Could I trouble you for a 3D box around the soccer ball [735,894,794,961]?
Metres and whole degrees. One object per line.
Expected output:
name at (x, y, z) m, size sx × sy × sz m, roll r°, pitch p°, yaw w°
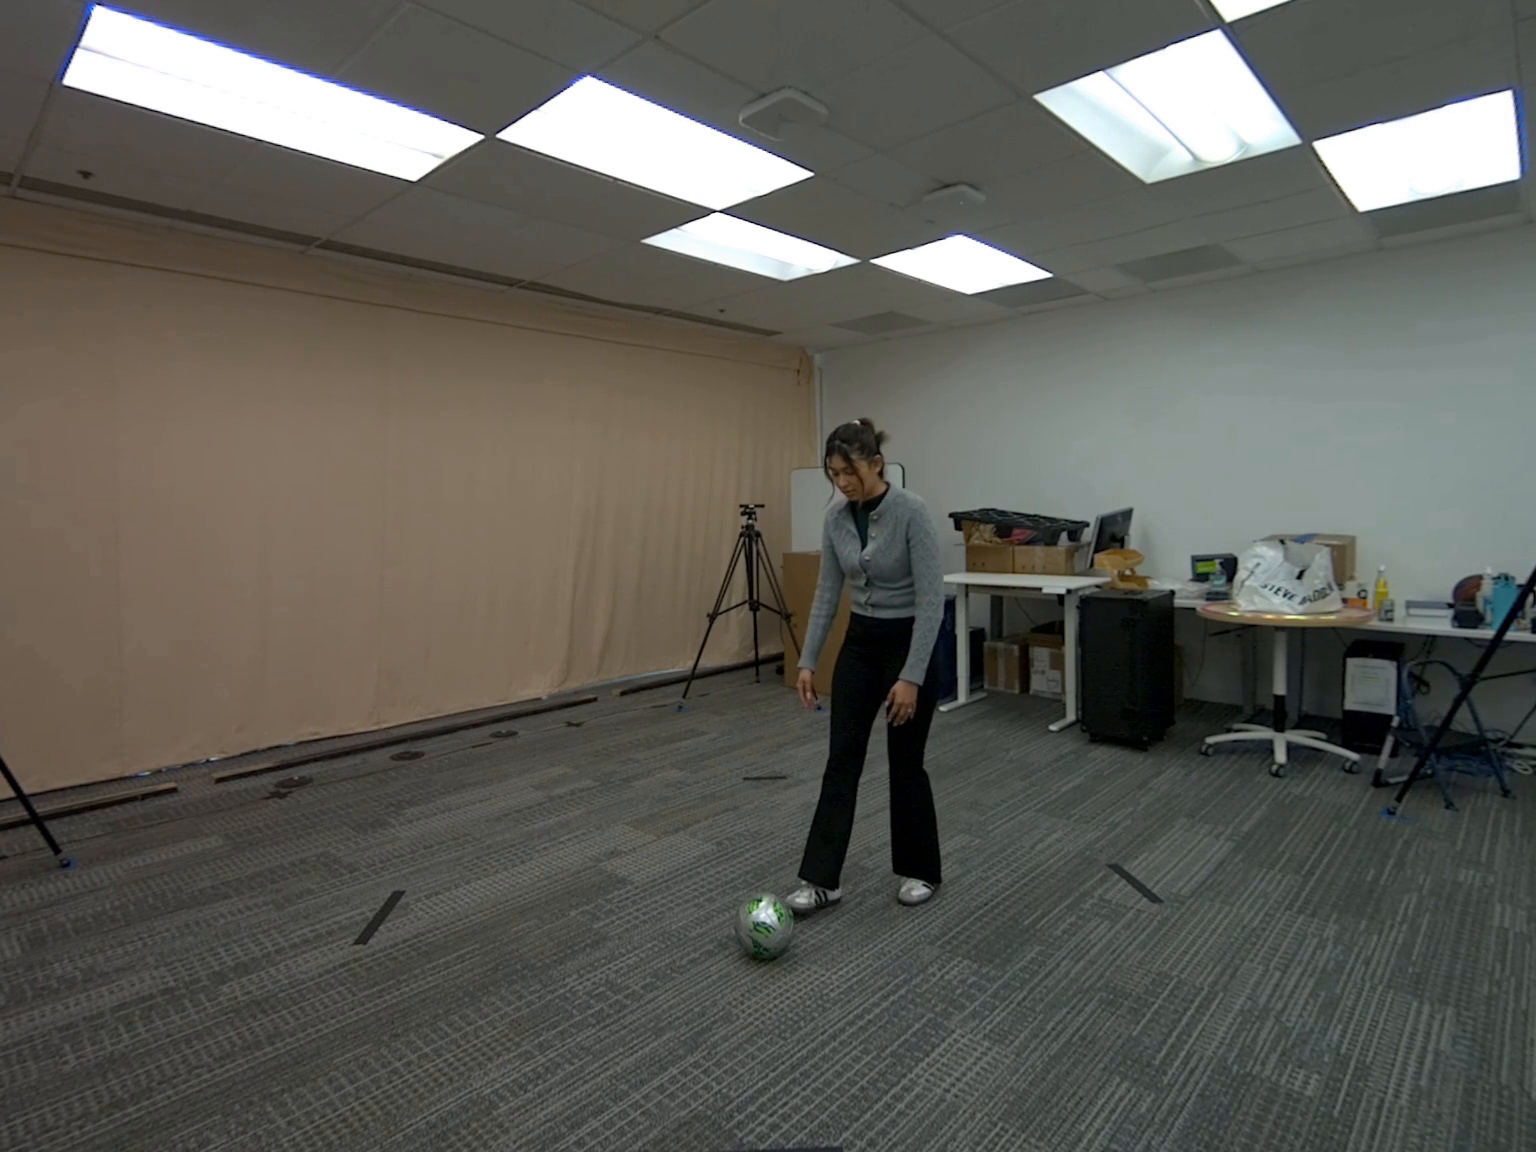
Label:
soccer ball at (-0.007, 1.080, 2.600) m, size 0.187 × 0.187 × 0.188 m, roll -1°, pitch 4°, yaw -2°
